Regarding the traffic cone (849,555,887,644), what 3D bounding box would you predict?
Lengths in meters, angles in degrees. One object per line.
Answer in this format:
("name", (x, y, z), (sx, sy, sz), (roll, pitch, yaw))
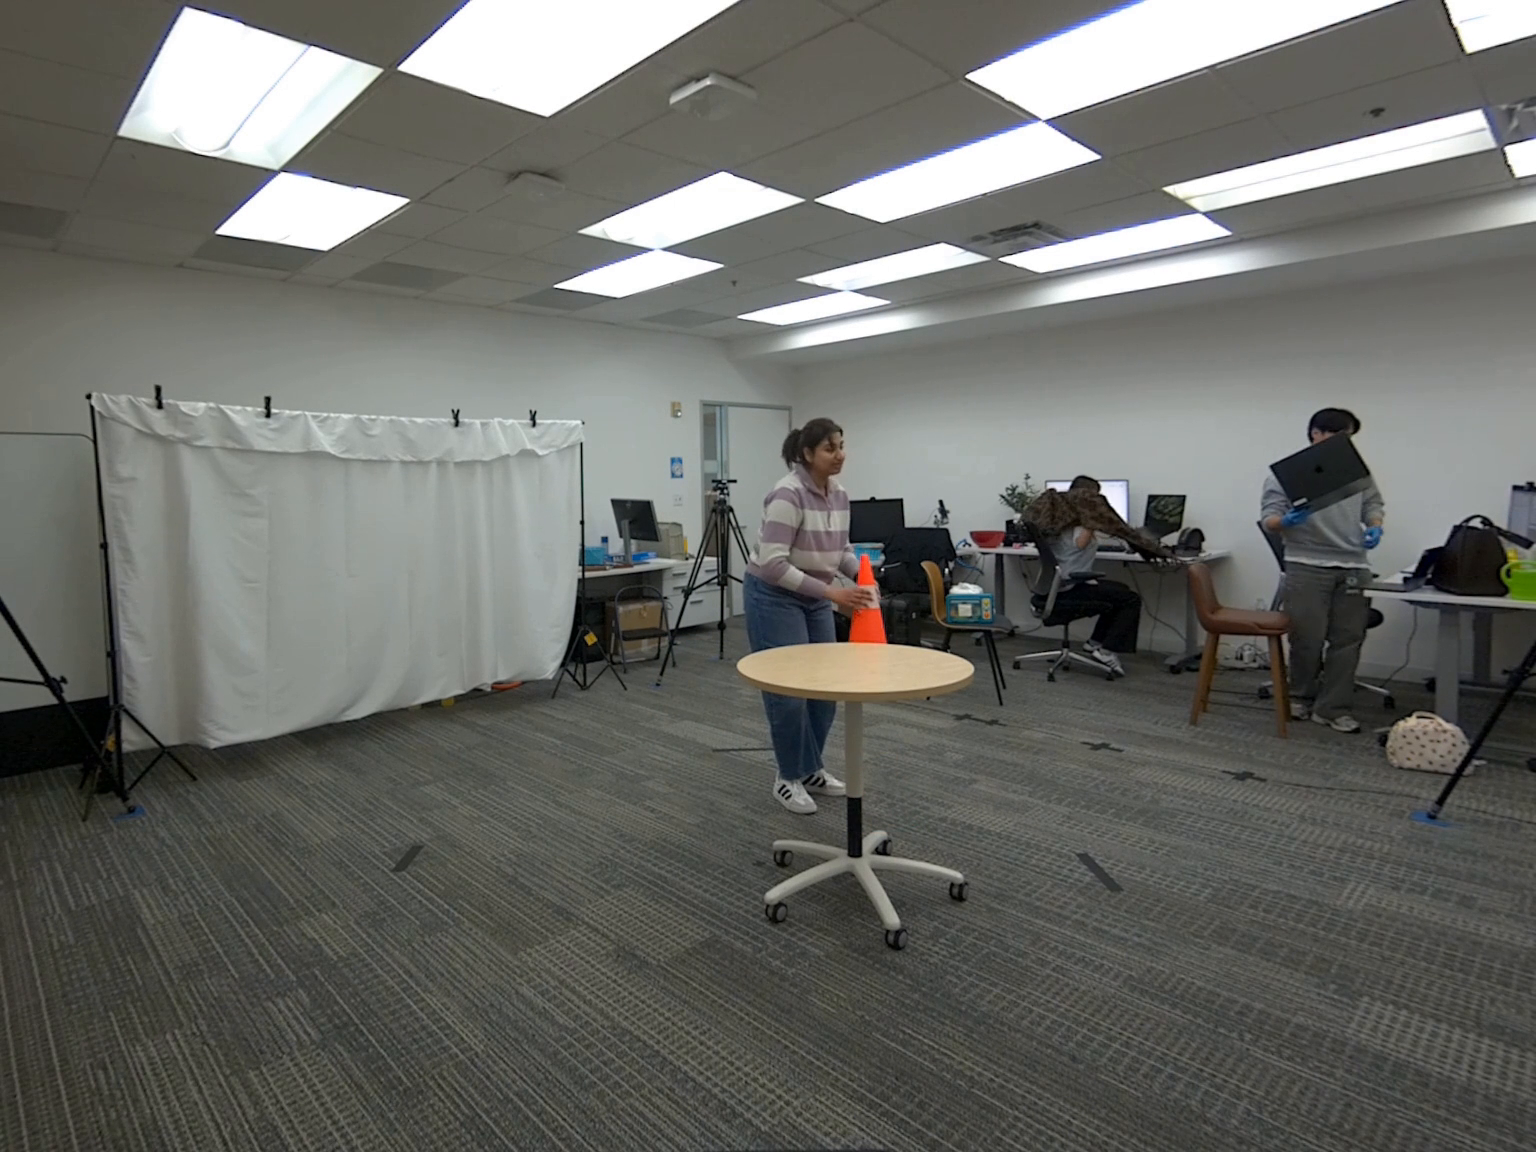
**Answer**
("traffic cone", (0.411, 0.115, 3.469), (0.202, 0.384, 0.205), (-1, -2, -14))
